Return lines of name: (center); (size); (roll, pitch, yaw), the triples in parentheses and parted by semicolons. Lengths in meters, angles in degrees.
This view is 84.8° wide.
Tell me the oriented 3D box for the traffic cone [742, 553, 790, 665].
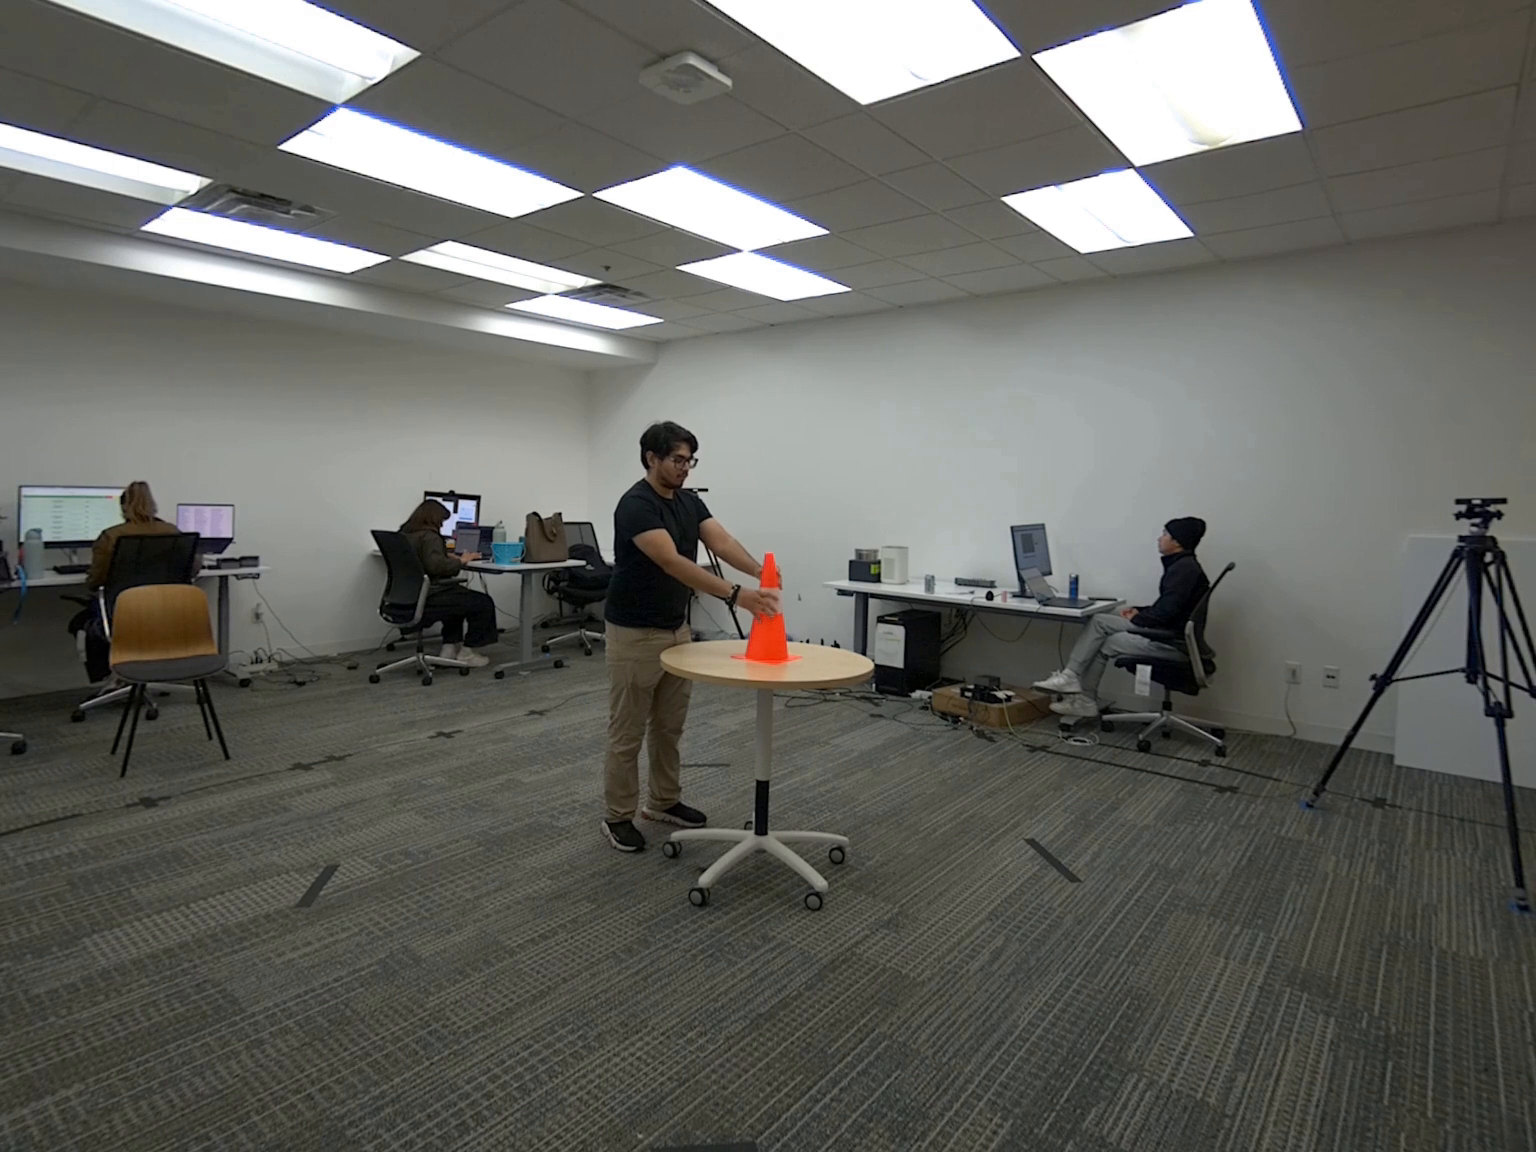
traffic cone: (-0.002, 0.107, 3.076); (0.211, 0.382, 0.198); (4, 4, 30)
